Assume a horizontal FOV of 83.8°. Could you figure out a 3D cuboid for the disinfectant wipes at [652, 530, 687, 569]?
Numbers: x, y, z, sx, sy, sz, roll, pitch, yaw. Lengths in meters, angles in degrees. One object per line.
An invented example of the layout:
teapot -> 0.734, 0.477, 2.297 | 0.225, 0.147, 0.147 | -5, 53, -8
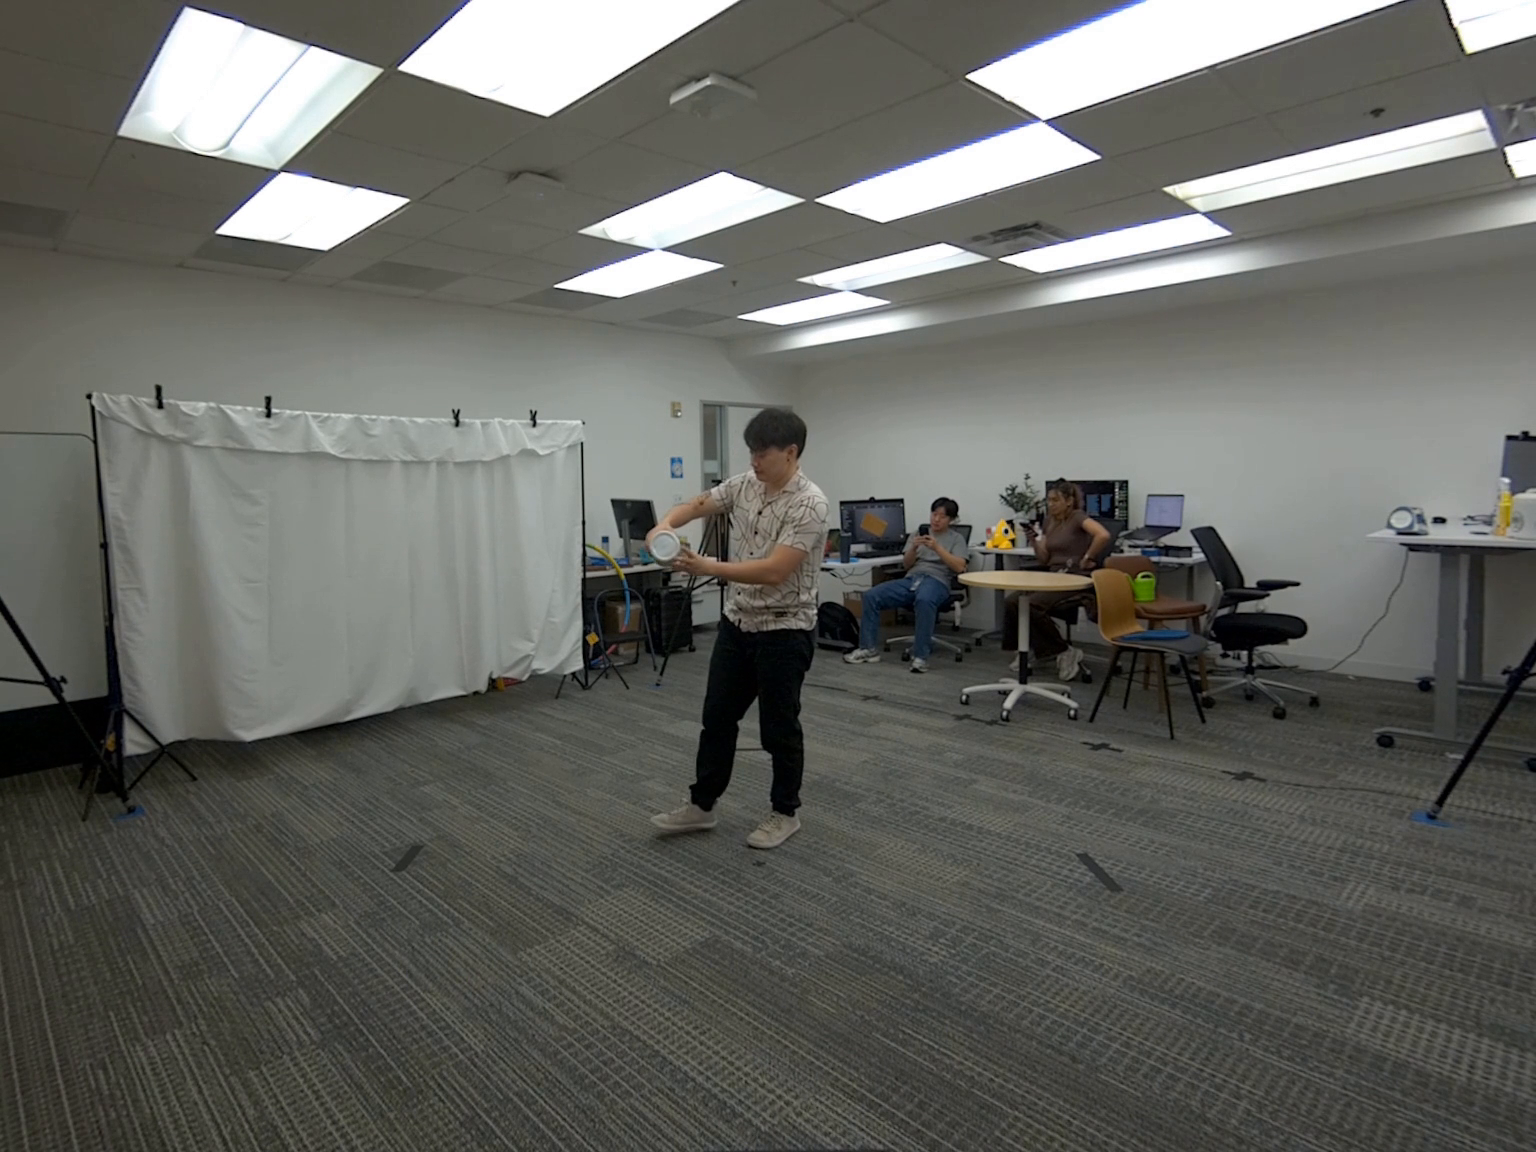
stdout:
disinfectant wipes -> -0.356, -0.095, 3.070 | 0.117, 0.118, 0.218 | -1, -3, -7
